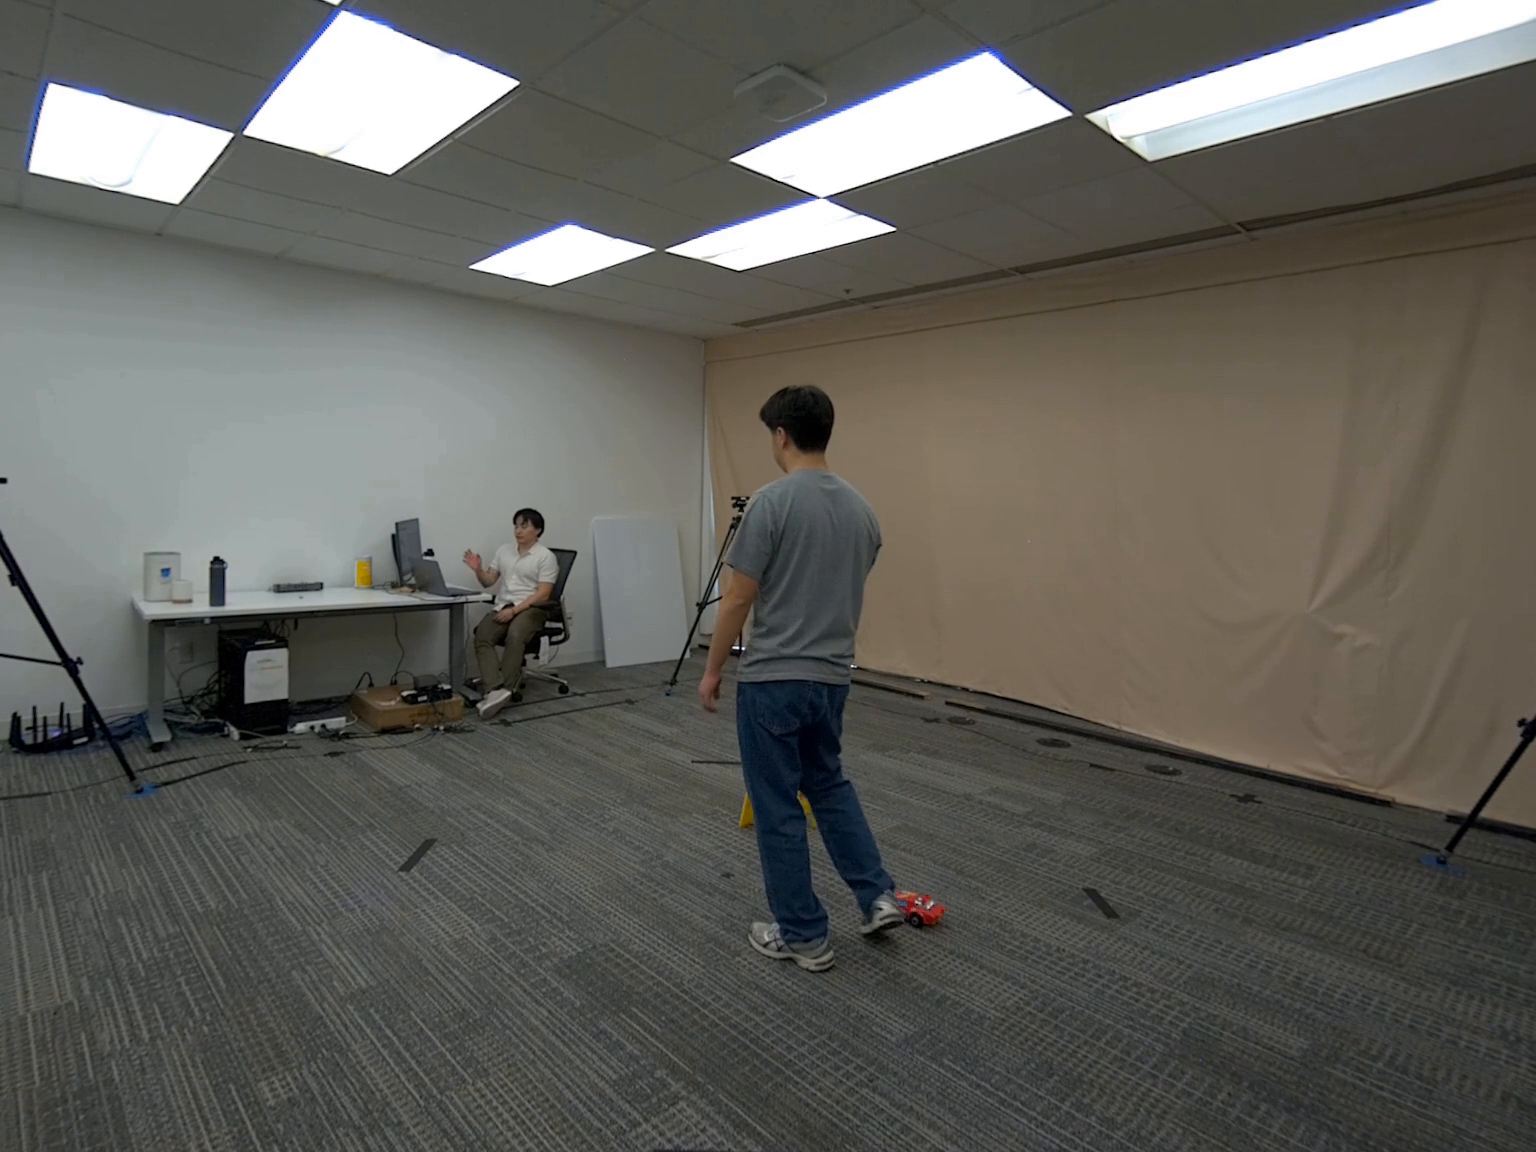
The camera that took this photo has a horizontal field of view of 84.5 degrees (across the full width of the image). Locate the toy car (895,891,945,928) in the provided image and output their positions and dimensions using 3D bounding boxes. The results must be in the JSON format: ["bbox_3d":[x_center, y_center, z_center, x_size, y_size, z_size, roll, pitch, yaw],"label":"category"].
[{"bbox_3d":[0.469,1.115,2.824,0.259,0.083,0.127,-8,-2,34],"label":"toy car"}]
